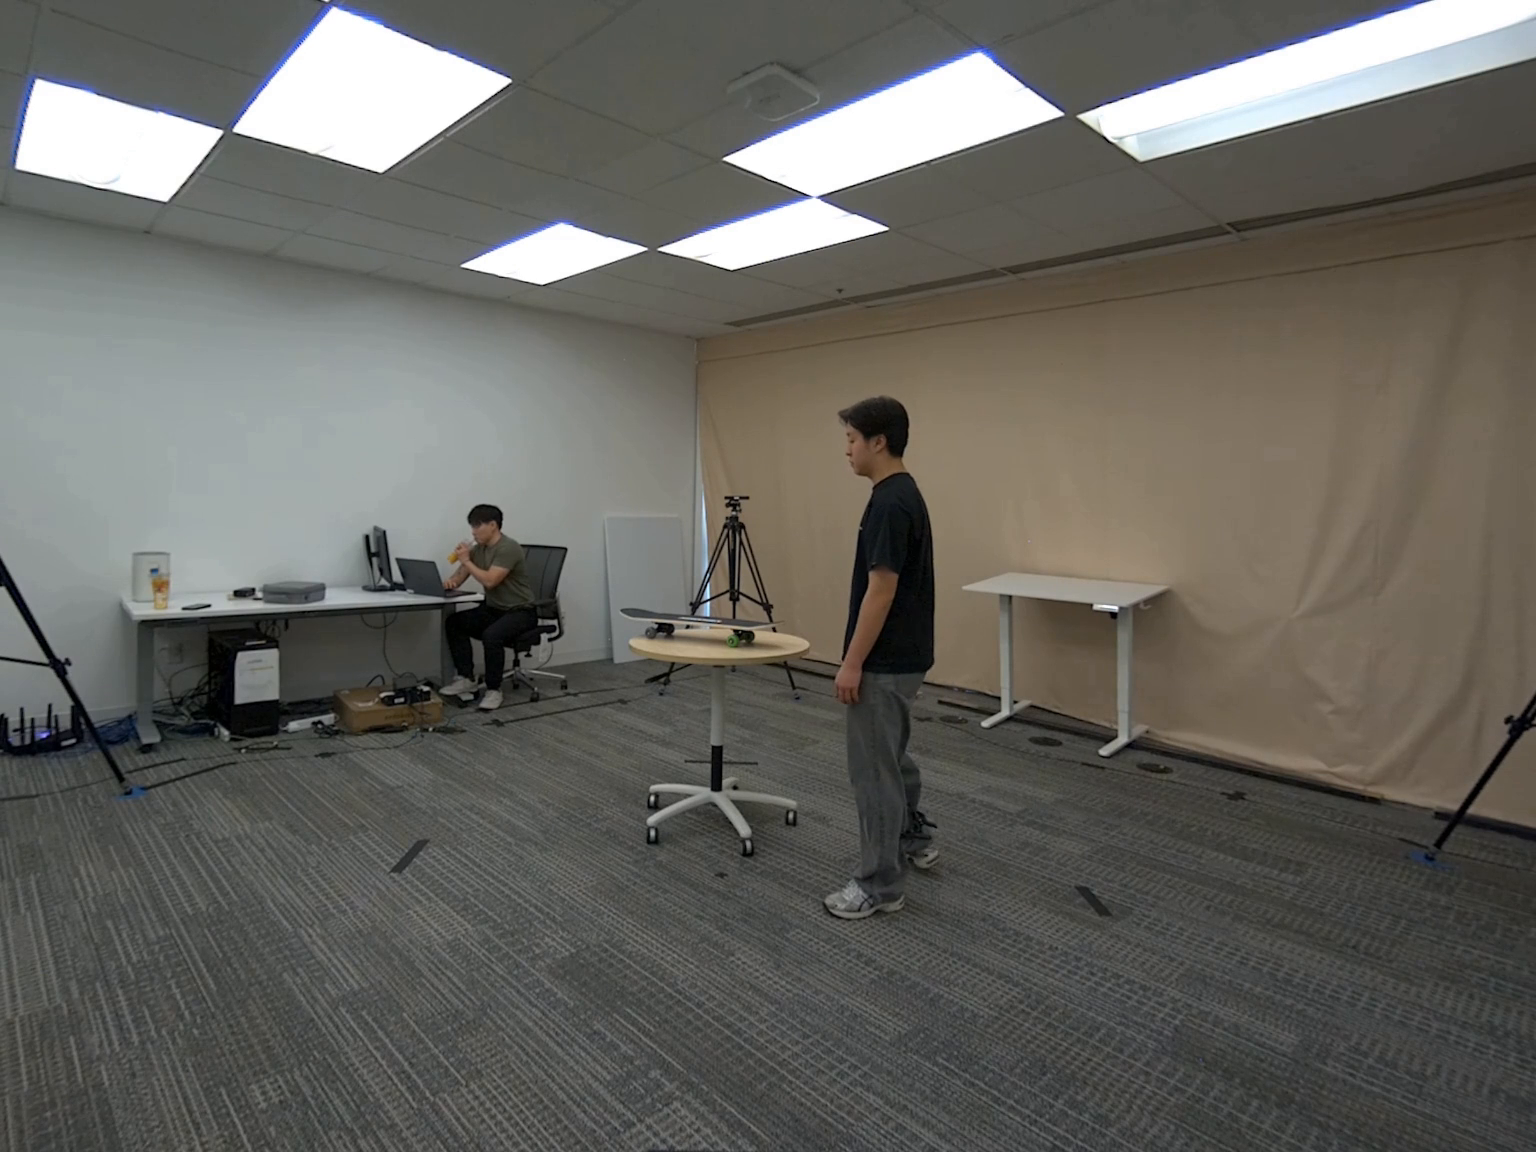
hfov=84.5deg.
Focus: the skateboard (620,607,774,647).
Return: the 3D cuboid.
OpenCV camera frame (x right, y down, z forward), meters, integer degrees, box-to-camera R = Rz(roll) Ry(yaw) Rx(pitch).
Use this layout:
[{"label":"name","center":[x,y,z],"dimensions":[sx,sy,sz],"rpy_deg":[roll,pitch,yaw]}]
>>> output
[{"label":"skateboard","center":[-0.304,0.229,3.607],"dimensions":[0.802,0.110,0.190],"rpy_deg":[4,4,27]}]
